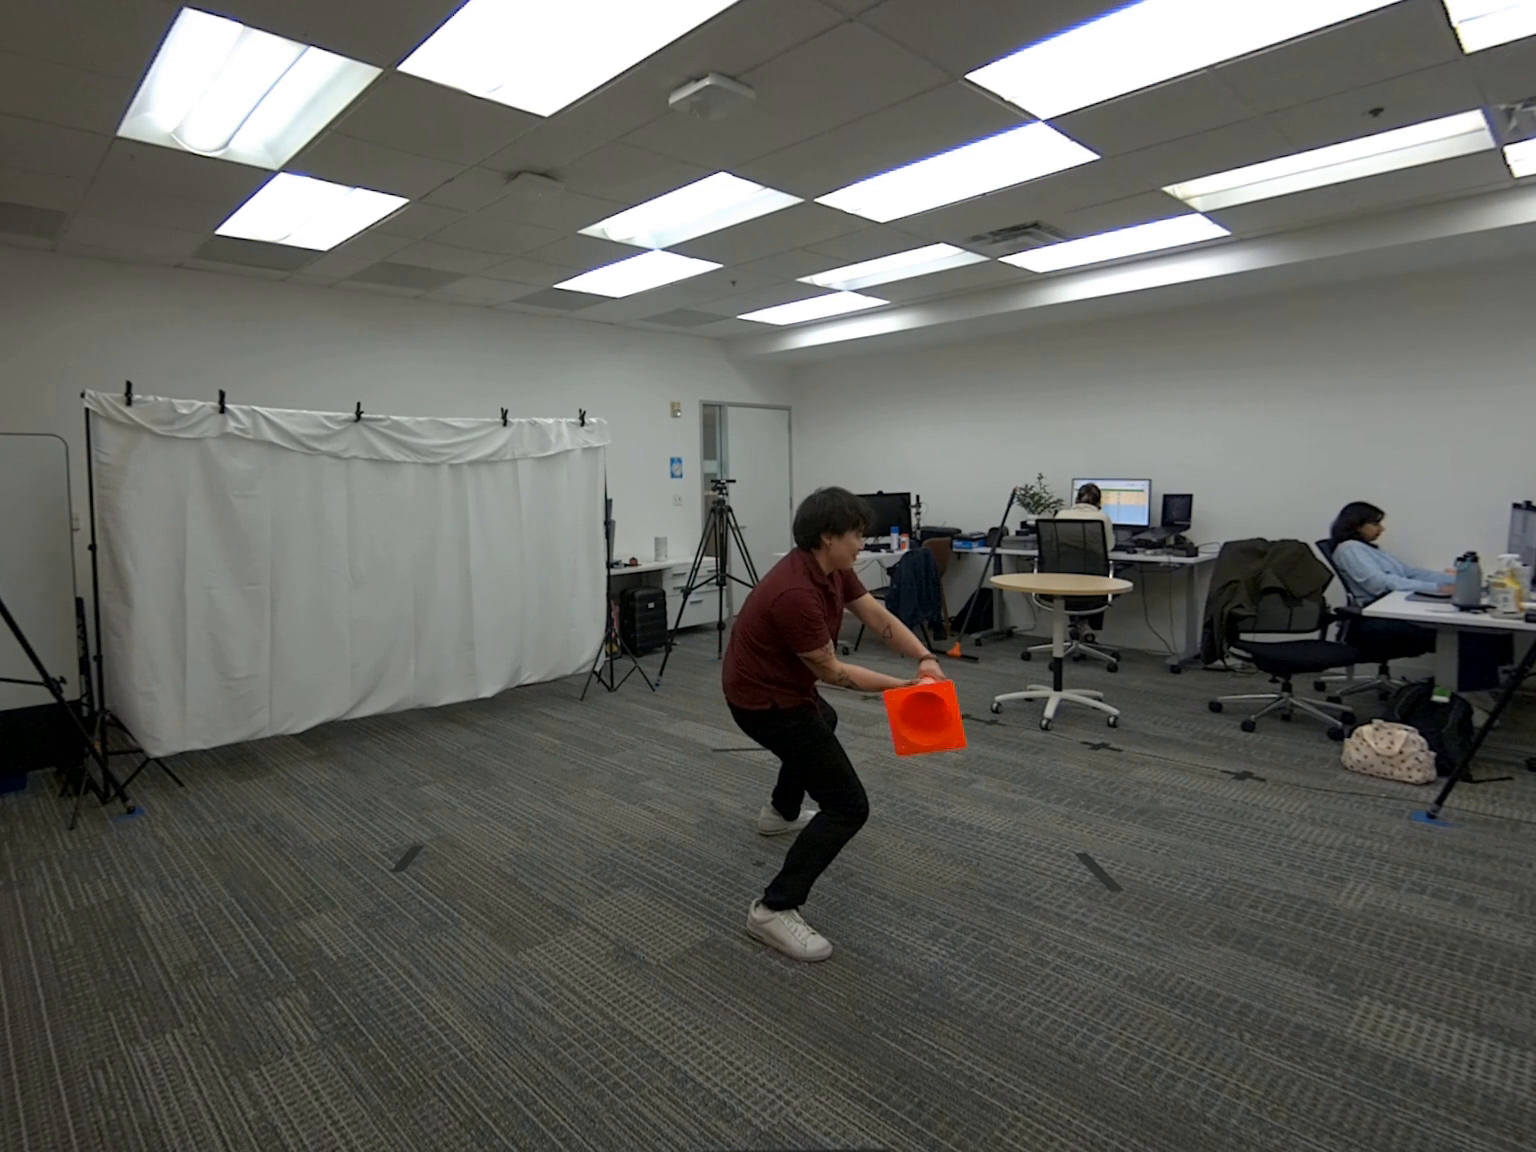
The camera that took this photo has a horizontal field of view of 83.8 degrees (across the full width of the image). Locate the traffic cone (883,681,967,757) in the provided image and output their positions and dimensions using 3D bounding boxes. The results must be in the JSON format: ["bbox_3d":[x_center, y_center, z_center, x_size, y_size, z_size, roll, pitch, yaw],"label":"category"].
[{"bbox_3d":[0.485,0.364,2.586,0.206,0.203,0.382,-7,10,15],"label":"traffic cone"}]
